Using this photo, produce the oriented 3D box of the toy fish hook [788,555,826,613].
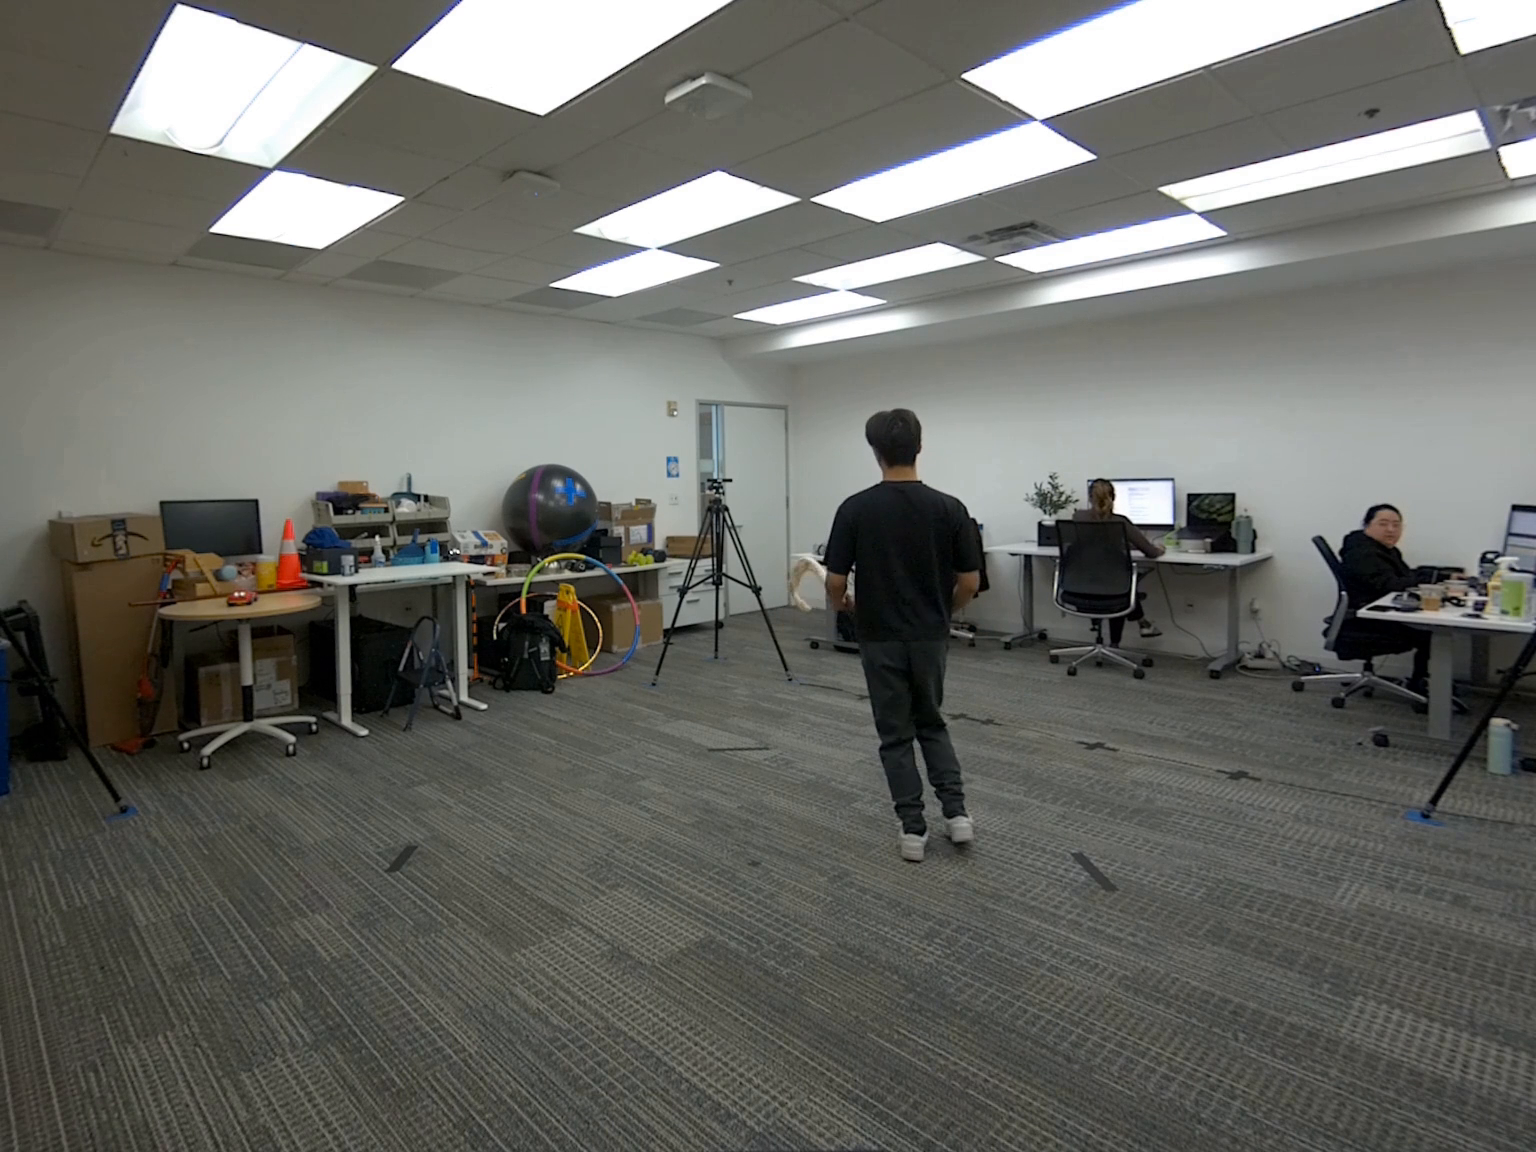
[{"bbox_3d":[0.251,0.101,3.600,0.047,0.222,0.526,1,24,-30],"label":"toy fish hook"}]
